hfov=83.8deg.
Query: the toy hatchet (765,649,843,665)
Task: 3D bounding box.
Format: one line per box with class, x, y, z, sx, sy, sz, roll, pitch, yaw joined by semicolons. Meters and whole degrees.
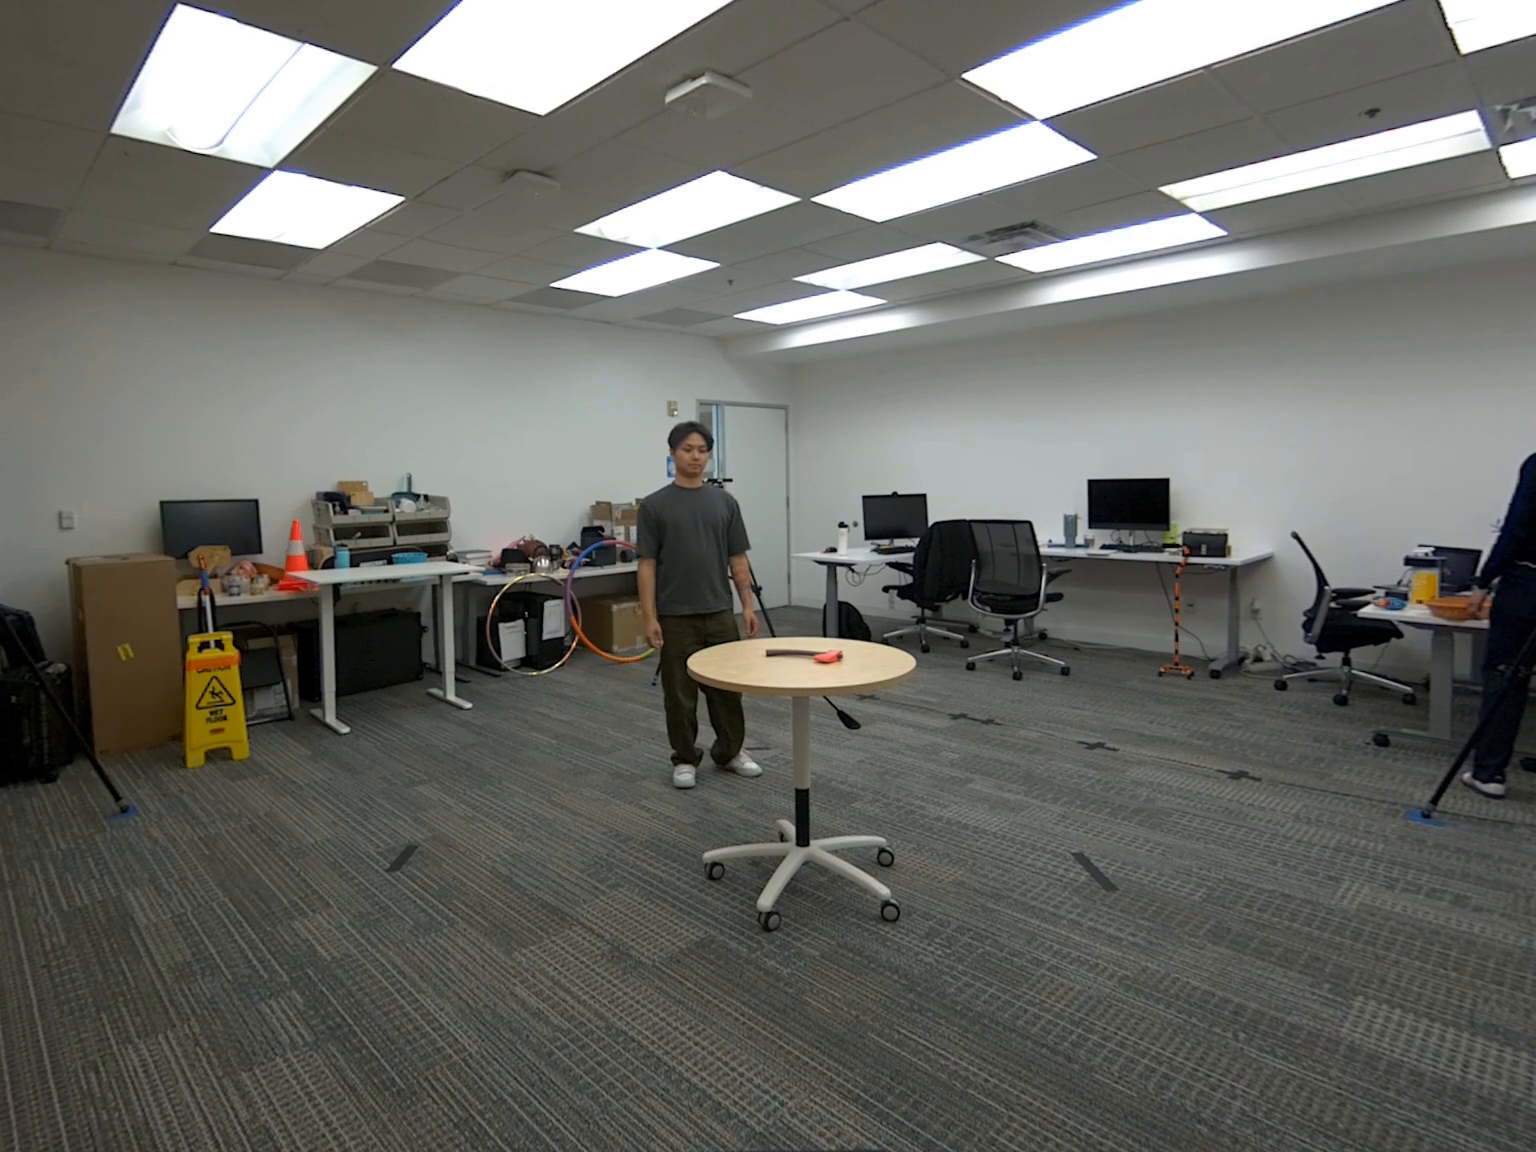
toy hatchet;0.122;0.272;2.883;0.273;0.029;0.131;-2;11;11
